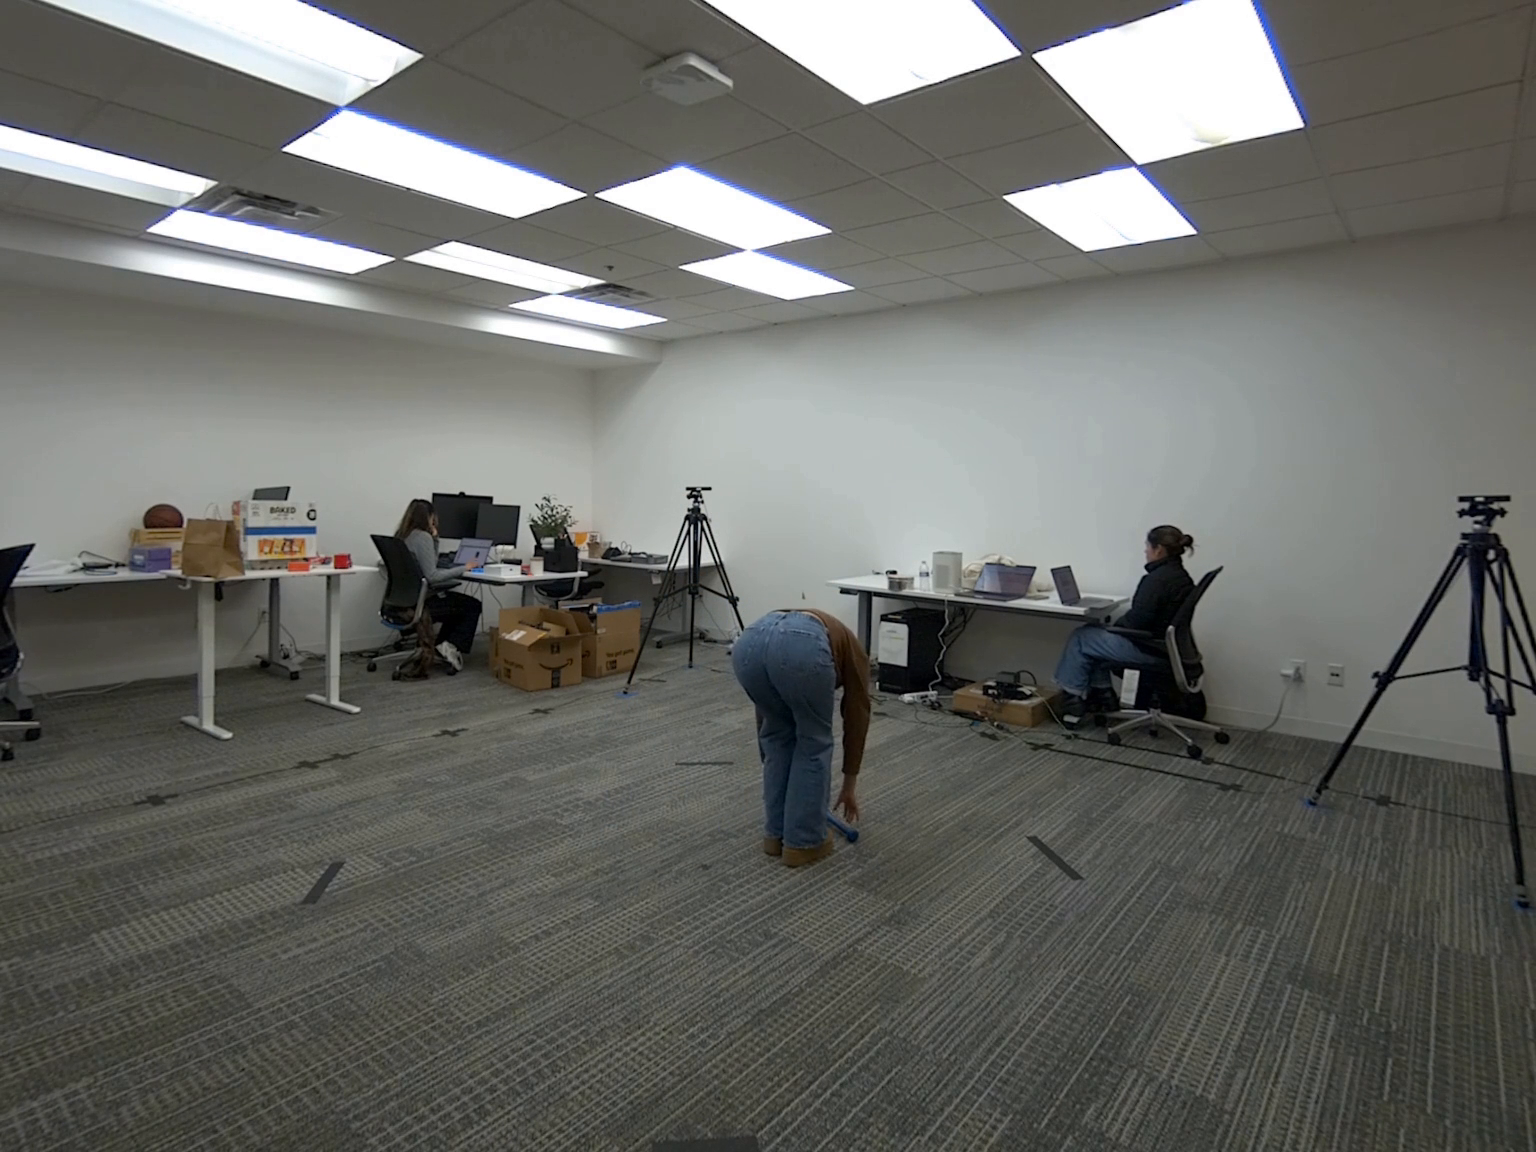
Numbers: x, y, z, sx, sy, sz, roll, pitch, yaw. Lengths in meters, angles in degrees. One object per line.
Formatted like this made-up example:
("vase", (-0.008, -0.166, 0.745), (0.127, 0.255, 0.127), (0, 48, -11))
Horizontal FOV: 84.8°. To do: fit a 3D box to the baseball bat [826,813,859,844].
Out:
("baseball bat", (0.210, 0.979, 3.604), (0.087, 0.088, 0.559), (-1, 9, -24))
